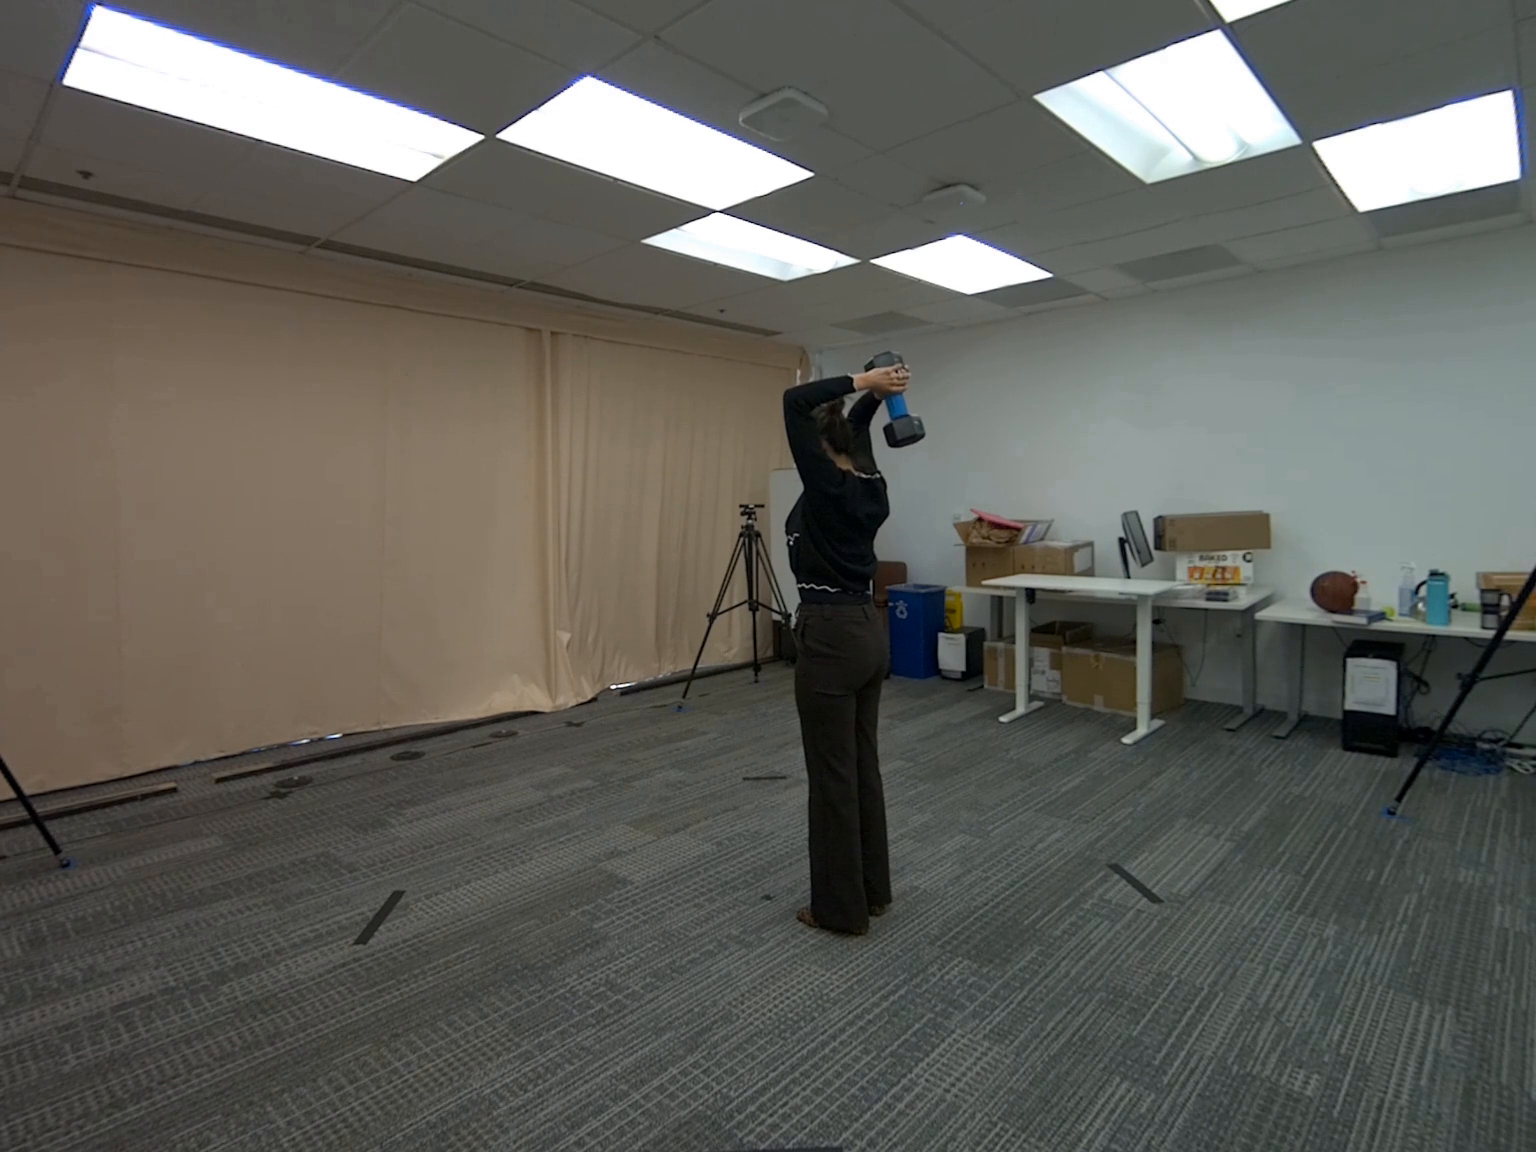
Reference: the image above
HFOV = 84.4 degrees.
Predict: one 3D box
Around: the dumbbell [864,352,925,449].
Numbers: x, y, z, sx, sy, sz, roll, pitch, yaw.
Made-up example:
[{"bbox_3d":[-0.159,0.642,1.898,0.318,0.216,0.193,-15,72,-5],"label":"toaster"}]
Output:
[{"bbox_3d":[0.403,-0.557,2.665,0.124,0.296,0.107,-17,-8,7],"label":"dumbbell"}]
